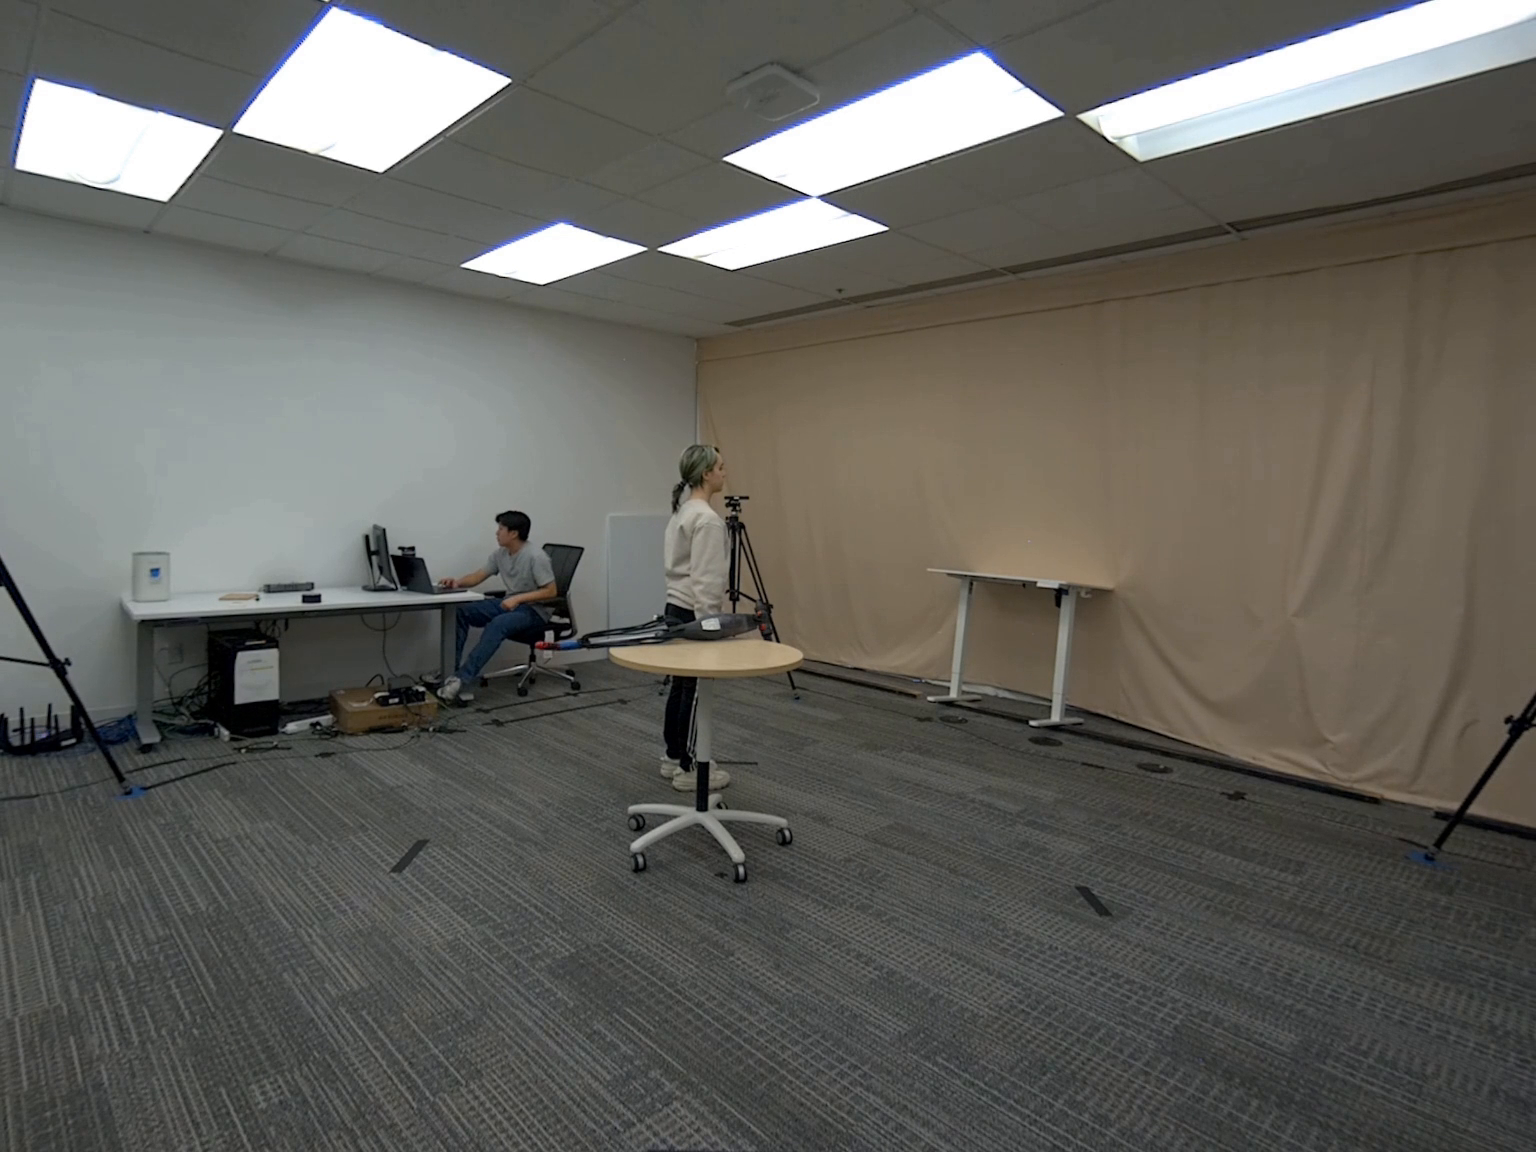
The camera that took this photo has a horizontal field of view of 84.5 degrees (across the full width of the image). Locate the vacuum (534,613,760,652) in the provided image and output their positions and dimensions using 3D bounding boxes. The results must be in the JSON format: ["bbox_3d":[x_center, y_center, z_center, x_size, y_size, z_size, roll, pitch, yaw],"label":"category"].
[{"bbox_3d":[-0.451,0.241,3.500,1.029,0.257,0.144,-3,-23,-30],"label":"vacuum"}]
